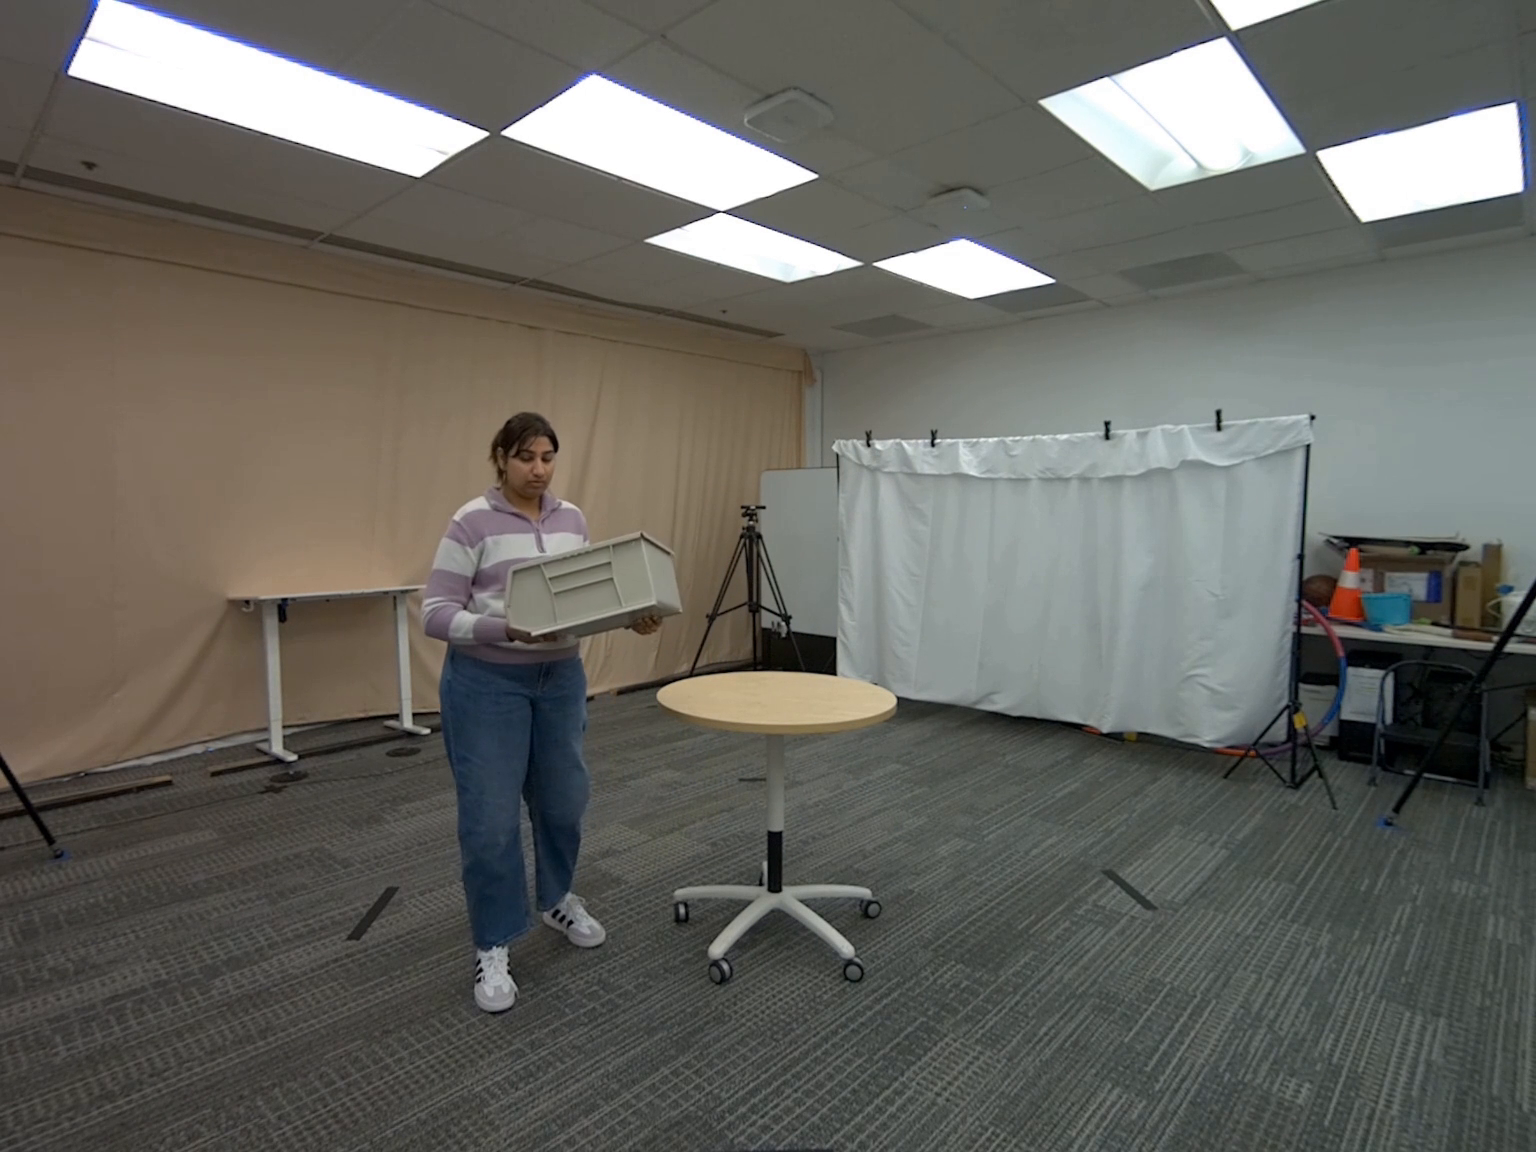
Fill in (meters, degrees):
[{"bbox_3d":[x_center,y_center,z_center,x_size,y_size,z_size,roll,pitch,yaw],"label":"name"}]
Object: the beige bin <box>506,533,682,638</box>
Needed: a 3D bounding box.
[{"bbox_3d":[-0.446,0.042,2.228,0.379,0.190,0.417,-12,-8,4],"label":"beige bin"}]
